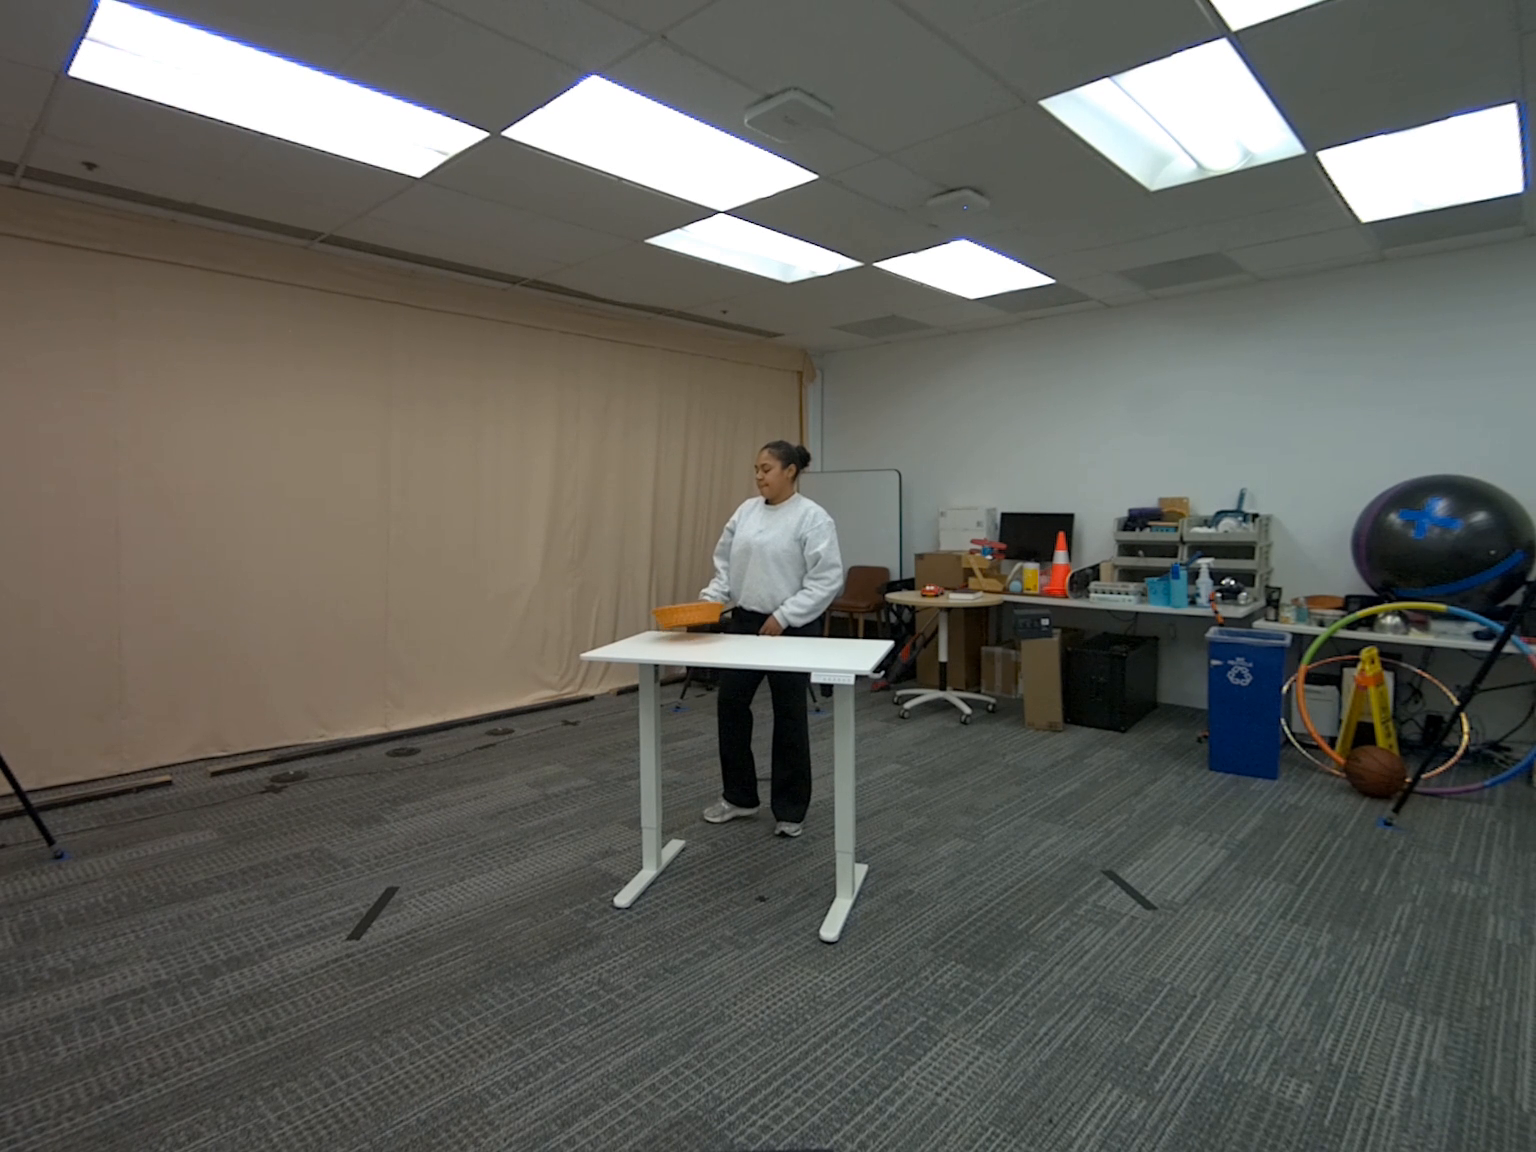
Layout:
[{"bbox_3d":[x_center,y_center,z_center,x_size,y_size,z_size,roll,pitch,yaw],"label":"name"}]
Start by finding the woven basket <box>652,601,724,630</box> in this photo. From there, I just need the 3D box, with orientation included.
[{"bbox_3d":[-0.318,0.160,3.278,0.259,0.074,0.340,-7,-5,31],"label":"woven basket"}]
